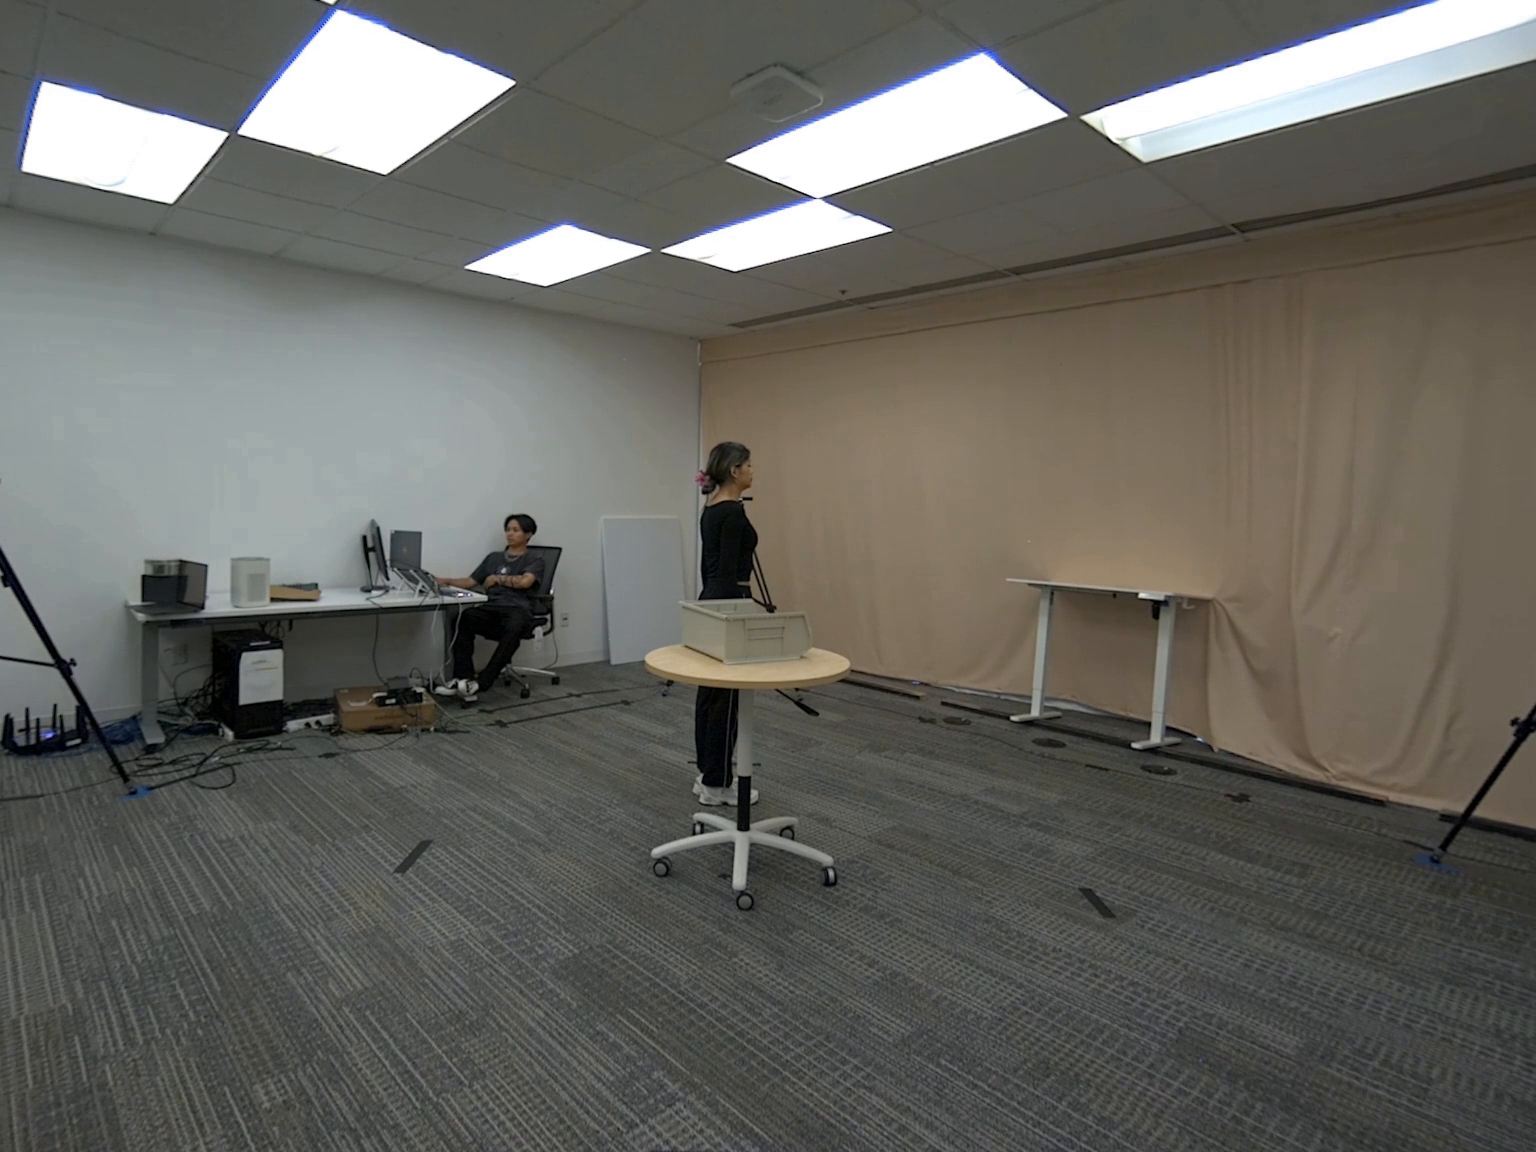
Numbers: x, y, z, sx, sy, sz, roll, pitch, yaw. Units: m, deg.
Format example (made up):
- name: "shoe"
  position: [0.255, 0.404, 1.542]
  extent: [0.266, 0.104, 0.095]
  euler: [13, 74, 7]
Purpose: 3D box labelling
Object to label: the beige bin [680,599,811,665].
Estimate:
- name: "beige bin"
  position: [-0.103, 0.211, 3.284]
  extent: [0.370, 0.188, 0.432]
  euler: [-2, 7, -29]
